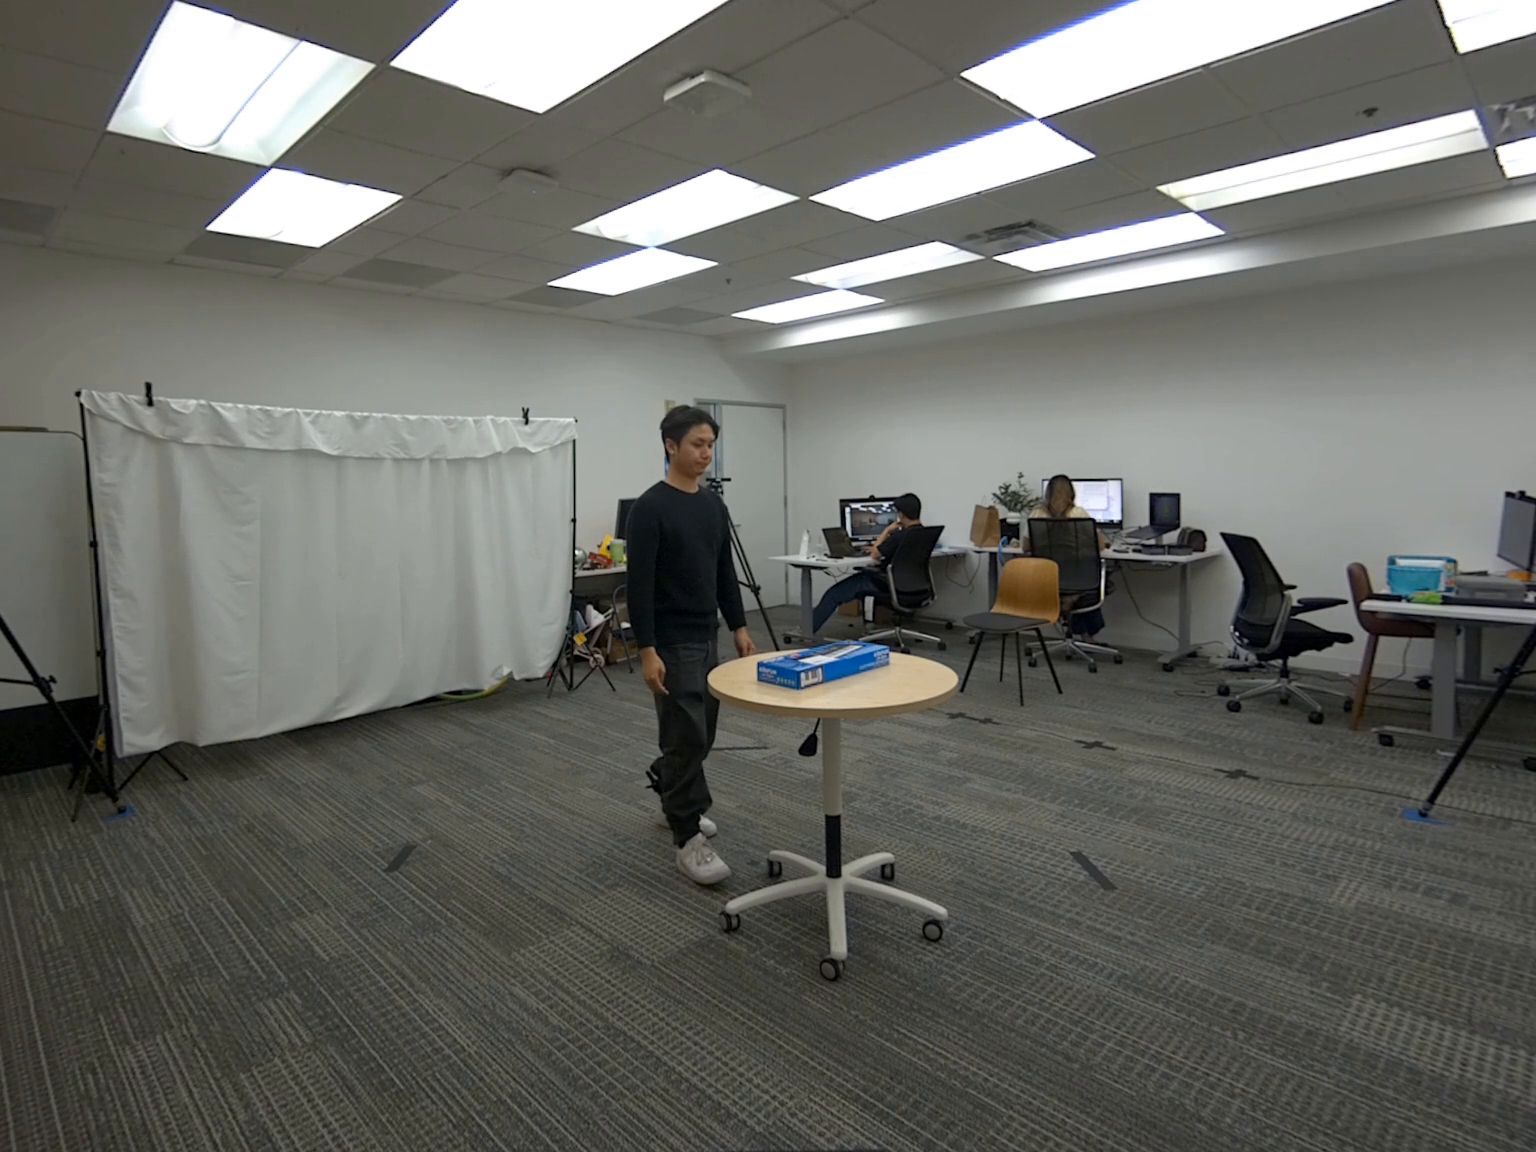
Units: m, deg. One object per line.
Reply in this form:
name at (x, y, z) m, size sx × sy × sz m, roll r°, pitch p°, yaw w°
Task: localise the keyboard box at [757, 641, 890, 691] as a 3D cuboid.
keyboard box at (0.179, 0.273, 2.682) m, size 0.426 × 0.059 × 0.181 m, roll -8°, pitch 10°, yaw -43°
